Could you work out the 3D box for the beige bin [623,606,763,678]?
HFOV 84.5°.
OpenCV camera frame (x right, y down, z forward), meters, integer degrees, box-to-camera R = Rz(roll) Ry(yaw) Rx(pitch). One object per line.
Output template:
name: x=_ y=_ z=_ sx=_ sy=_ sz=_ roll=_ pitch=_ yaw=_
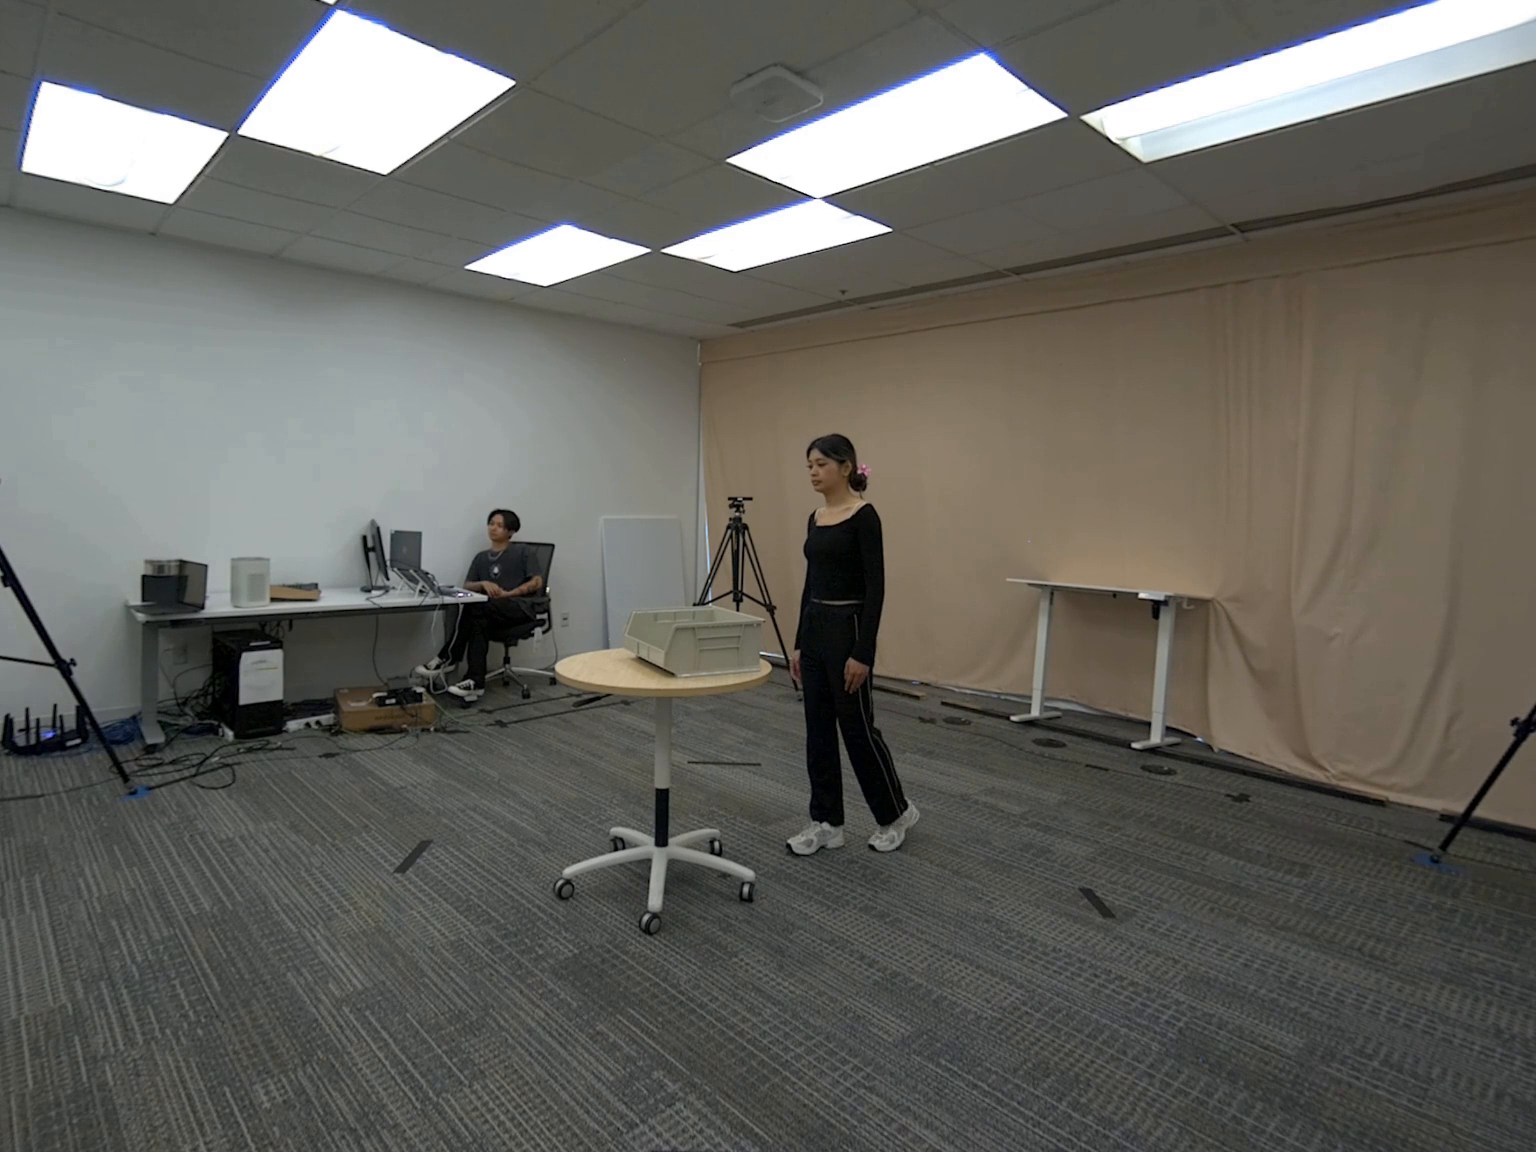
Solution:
beige bin: x=-0.279 y=0.228 z=3.013 sx=0.370 sy=0.188 sz=0.431 roll=0 pitch=4 yaw=-28
